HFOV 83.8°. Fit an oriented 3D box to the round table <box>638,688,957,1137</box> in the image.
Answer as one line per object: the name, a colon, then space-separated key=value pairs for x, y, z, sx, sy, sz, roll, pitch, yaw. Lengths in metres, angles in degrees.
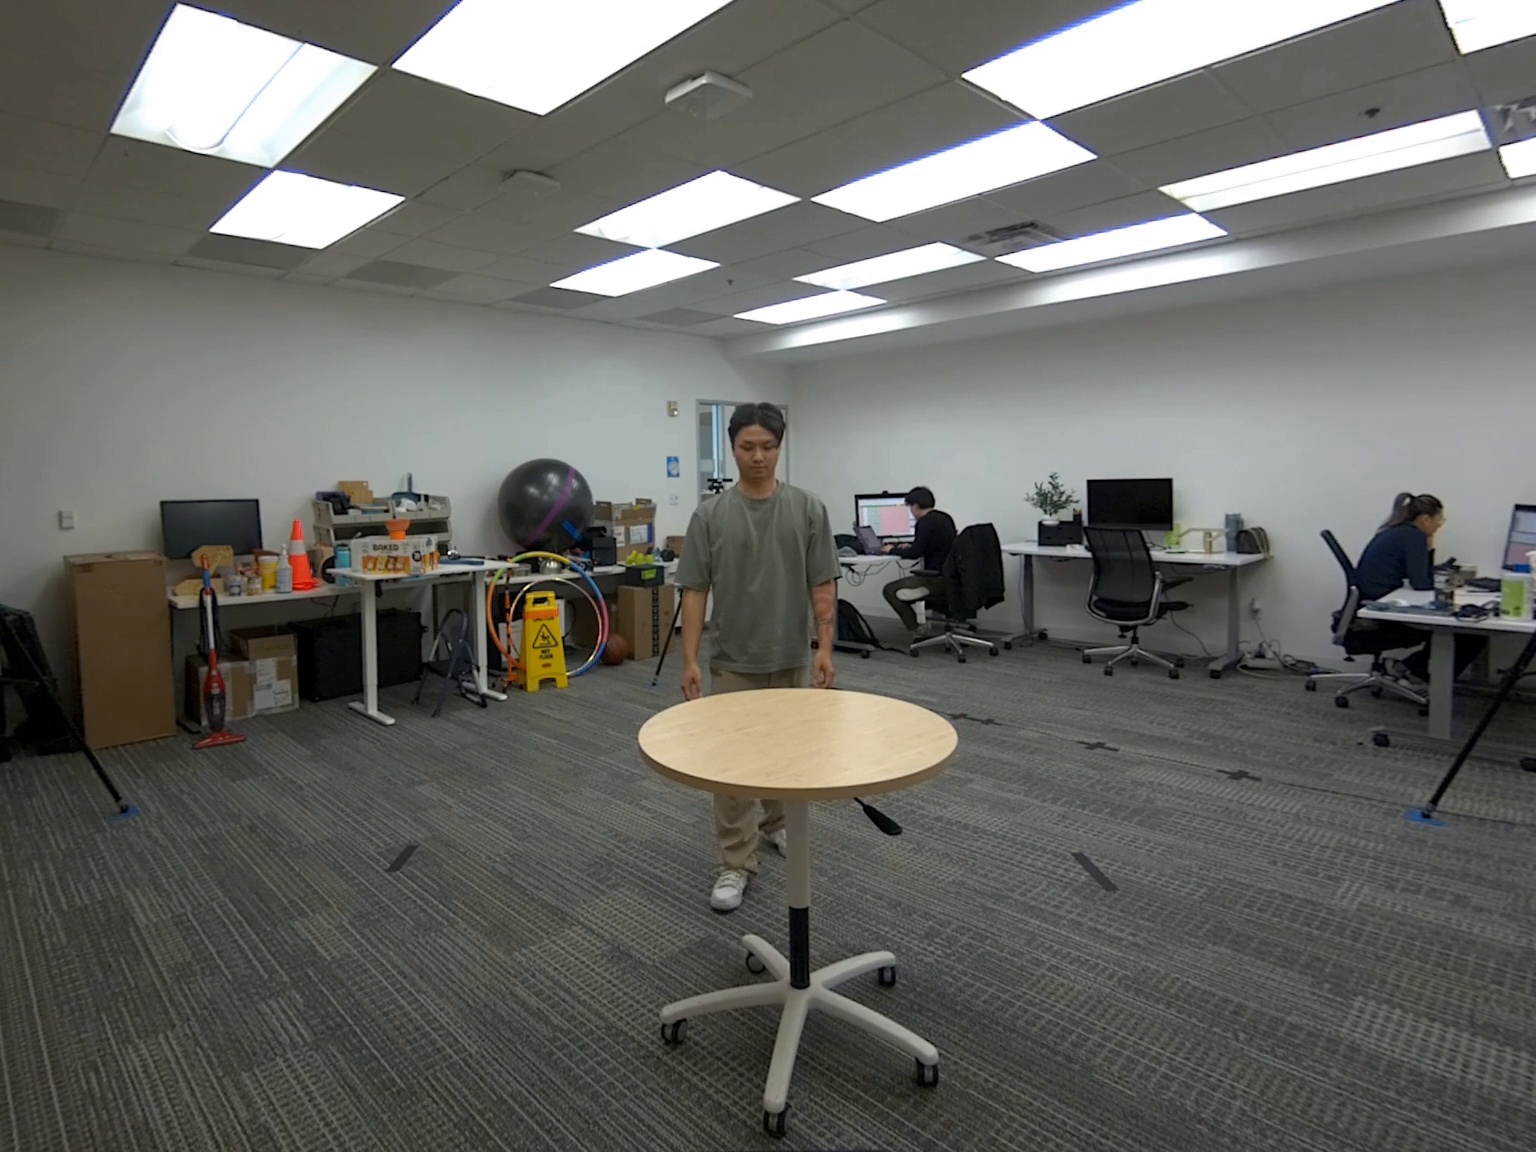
round table: x=0.069 y=0.769 z=2.115 sx=0.784 sy=0.783 sz=0.789 roll=-1 pitch=5 yaw=-2
